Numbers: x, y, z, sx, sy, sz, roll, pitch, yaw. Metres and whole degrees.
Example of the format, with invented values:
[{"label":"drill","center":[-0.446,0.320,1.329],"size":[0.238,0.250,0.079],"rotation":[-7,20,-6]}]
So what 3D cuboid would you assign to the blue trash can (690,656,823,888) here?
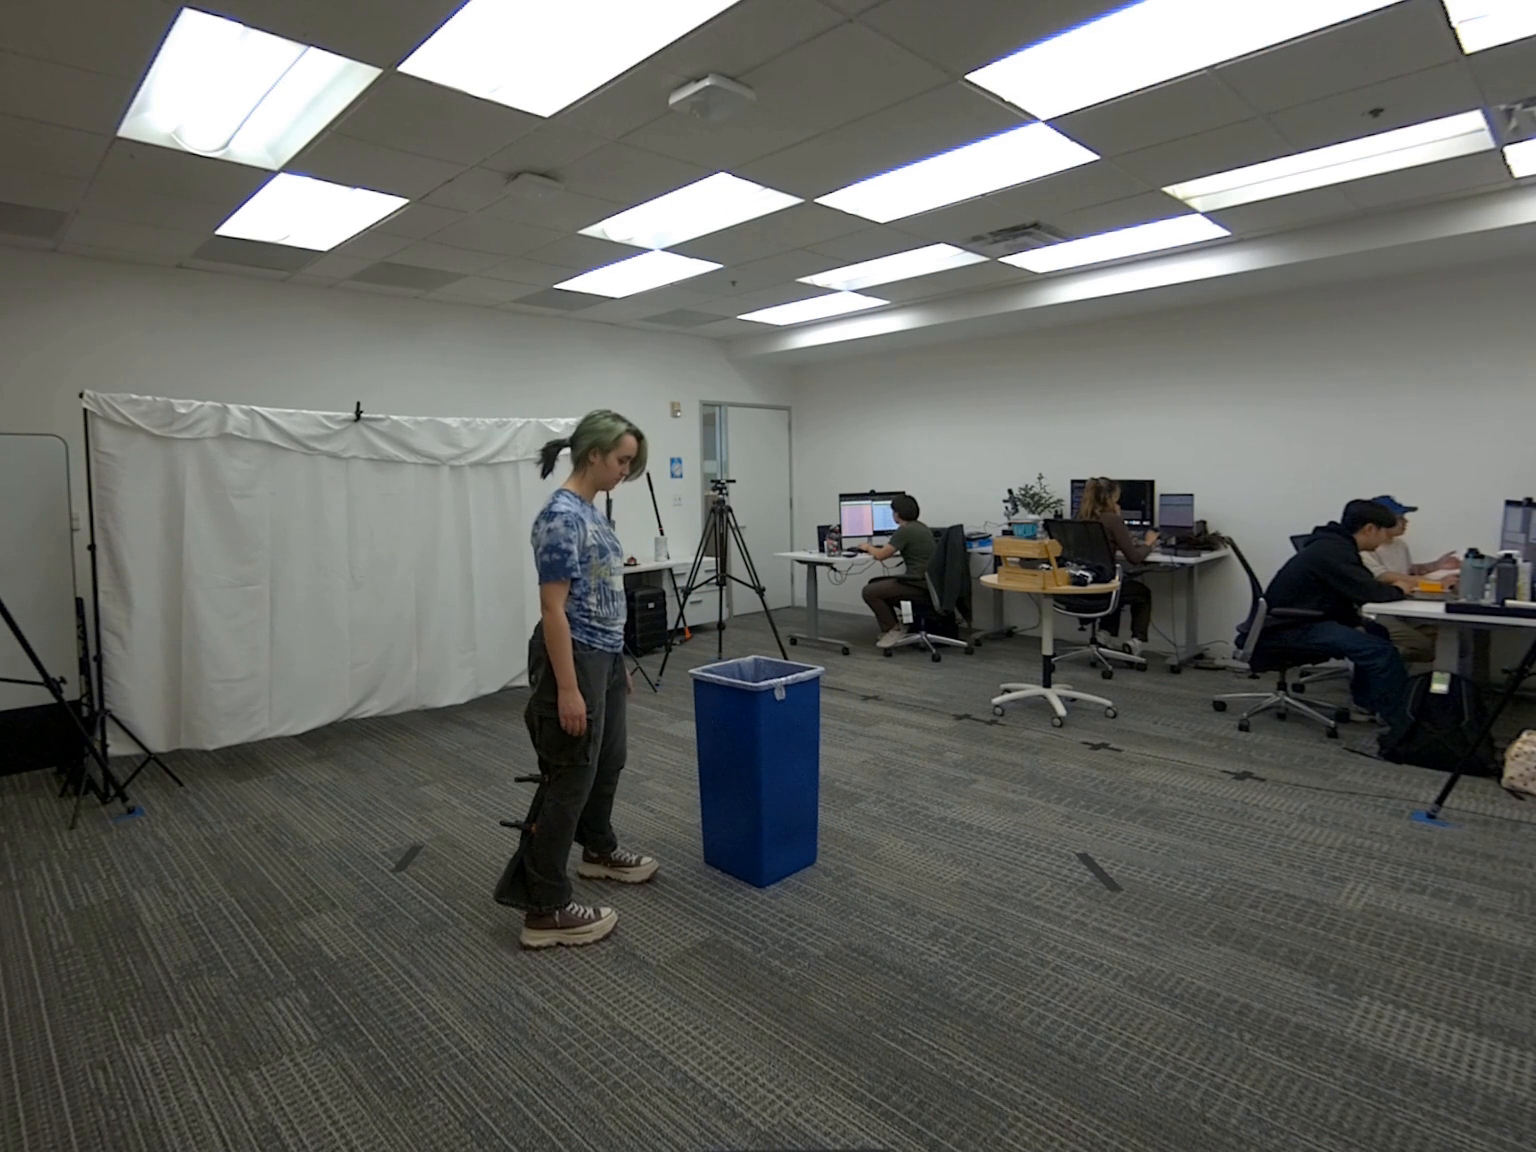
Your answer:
[{"label":"blue trash can","center":[-0.037,0.689,3.108],"size":[0.385,0.711,0.368],"rotation":[3,5,45]}]
